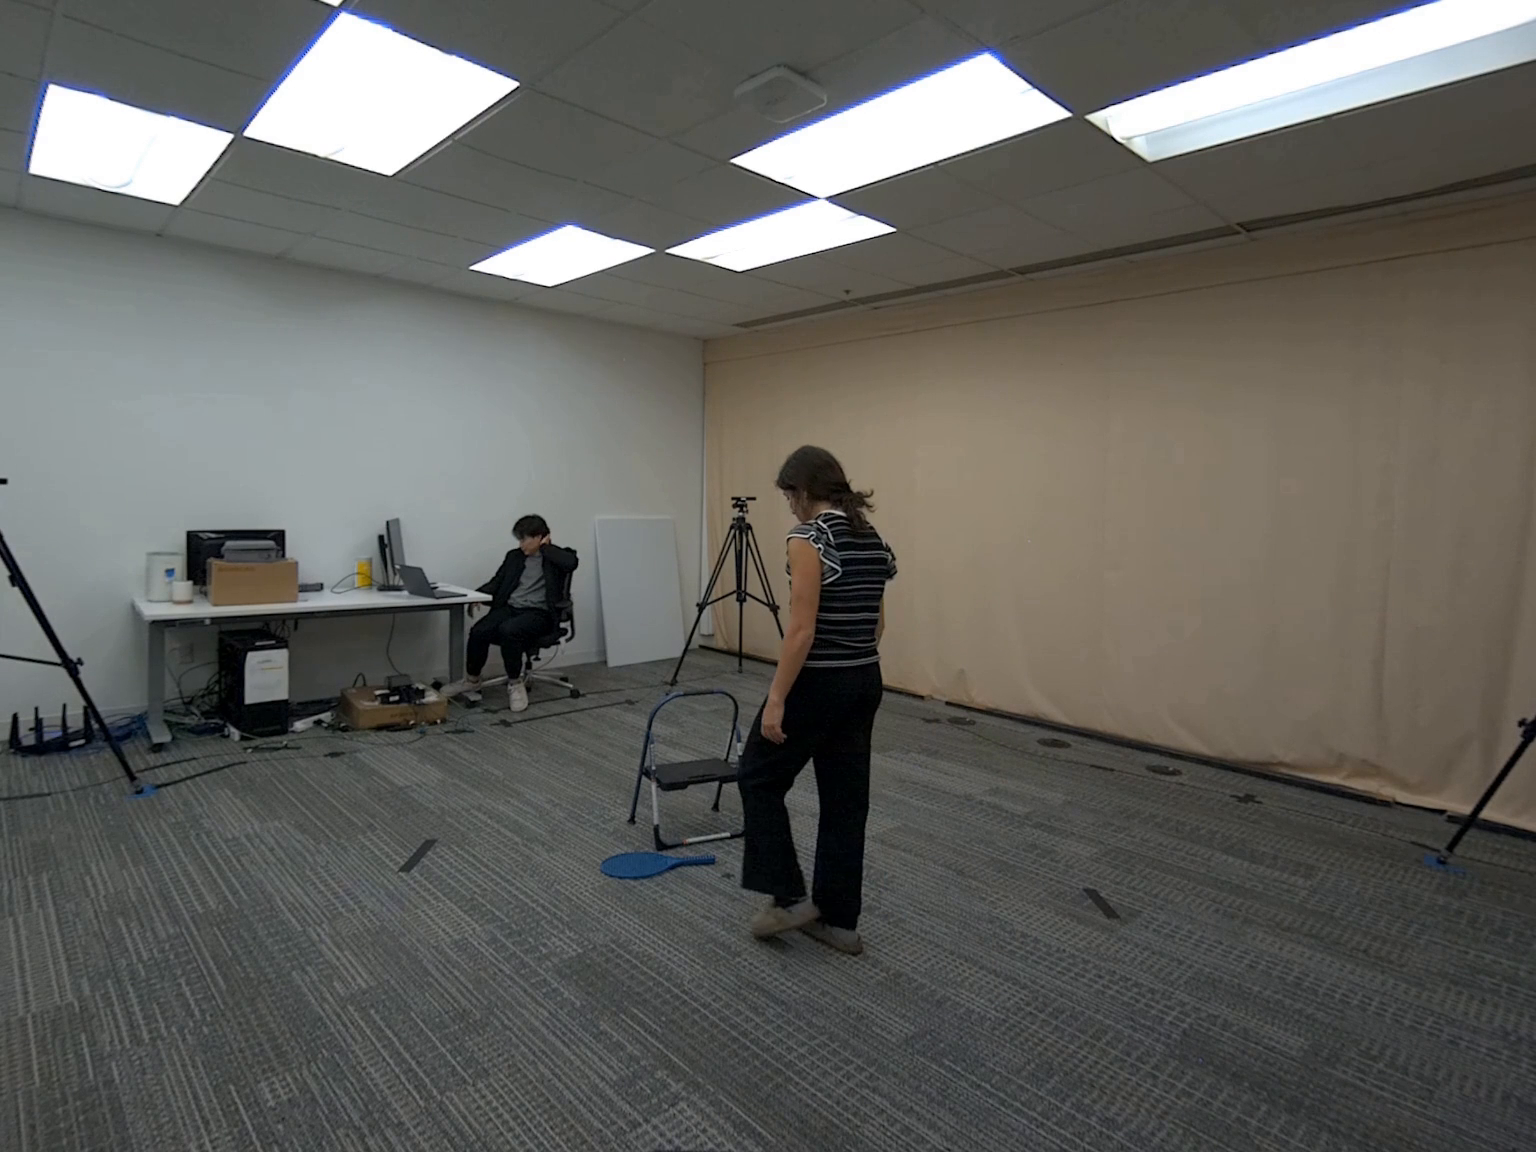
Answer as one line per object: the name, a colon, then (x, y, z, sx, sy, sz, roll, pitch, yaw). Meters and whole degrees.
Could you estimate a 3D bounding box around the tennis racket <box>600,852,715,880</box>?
tennis racket: (-0.421, 1.082, 3.169, 0.430, 0.031, 0.216, 0, 7, -8)
